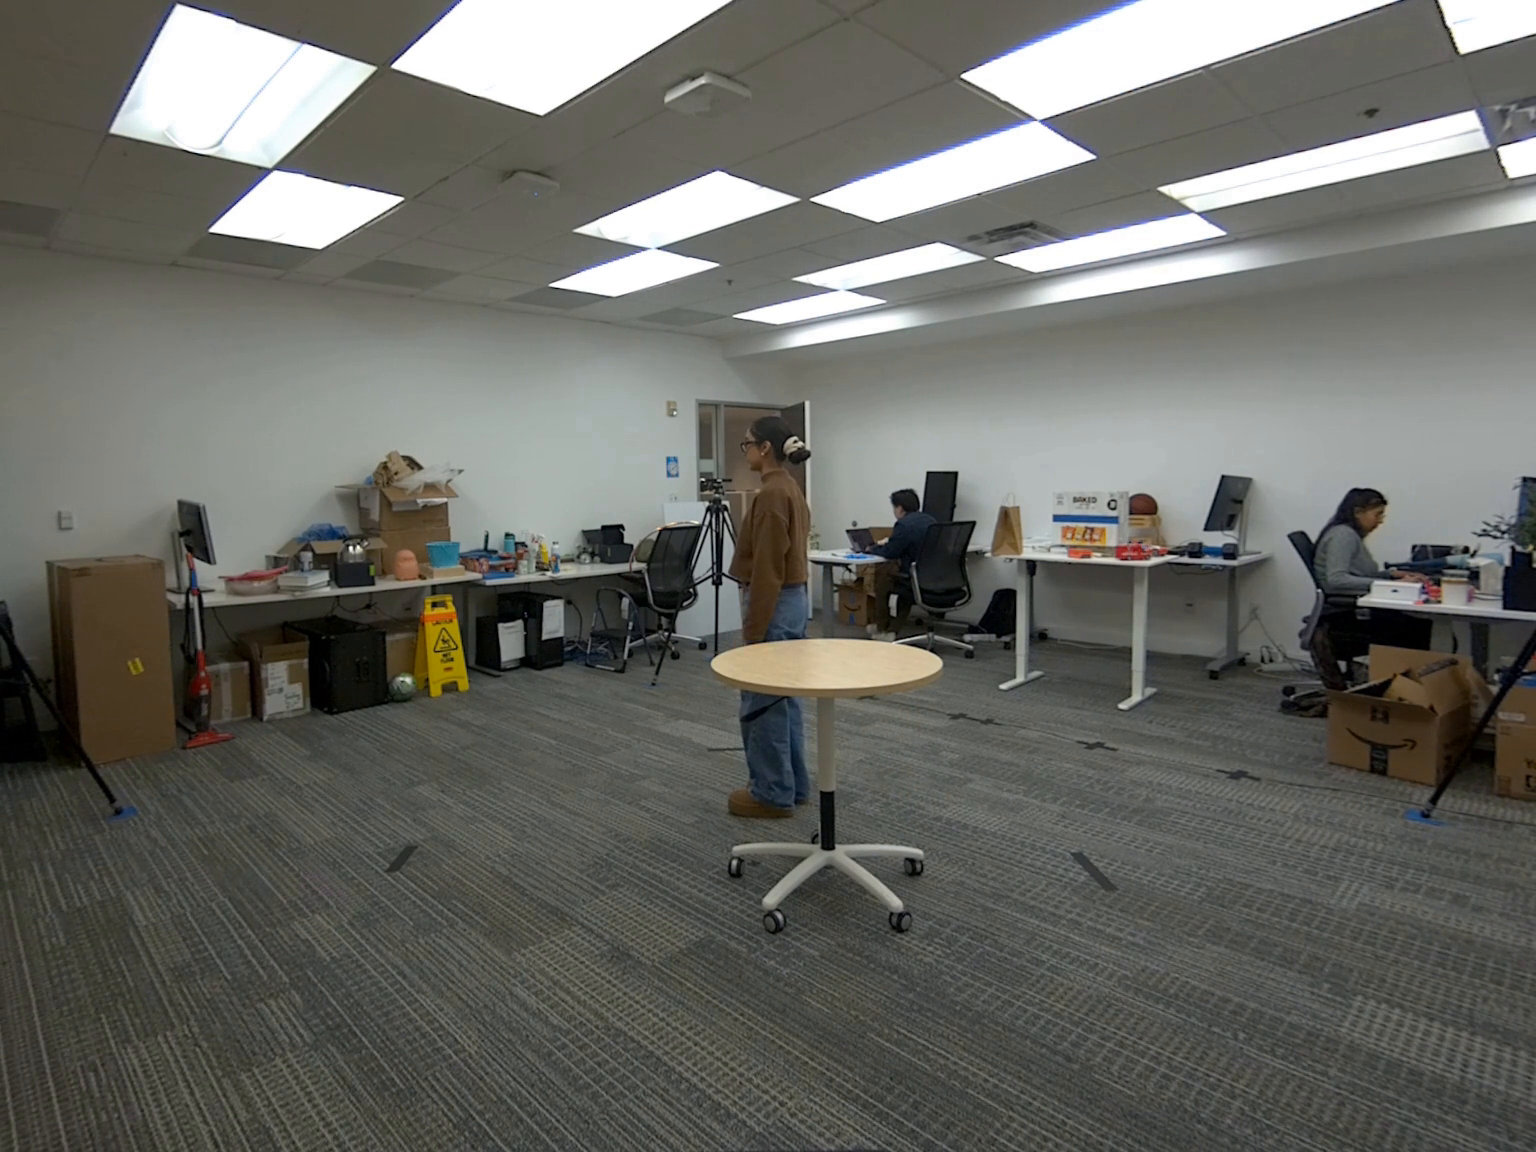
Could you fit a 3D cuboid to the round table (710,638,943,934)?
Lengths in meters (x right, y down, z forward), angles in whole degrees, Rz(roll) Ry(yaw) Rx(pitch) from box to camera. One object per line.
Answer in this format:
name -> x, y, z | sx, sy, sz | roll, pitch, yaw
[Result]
round table -> 0.207, 0.680, 2.884 | 0.763, 0.791, 0.768 | -1, 5, -2
